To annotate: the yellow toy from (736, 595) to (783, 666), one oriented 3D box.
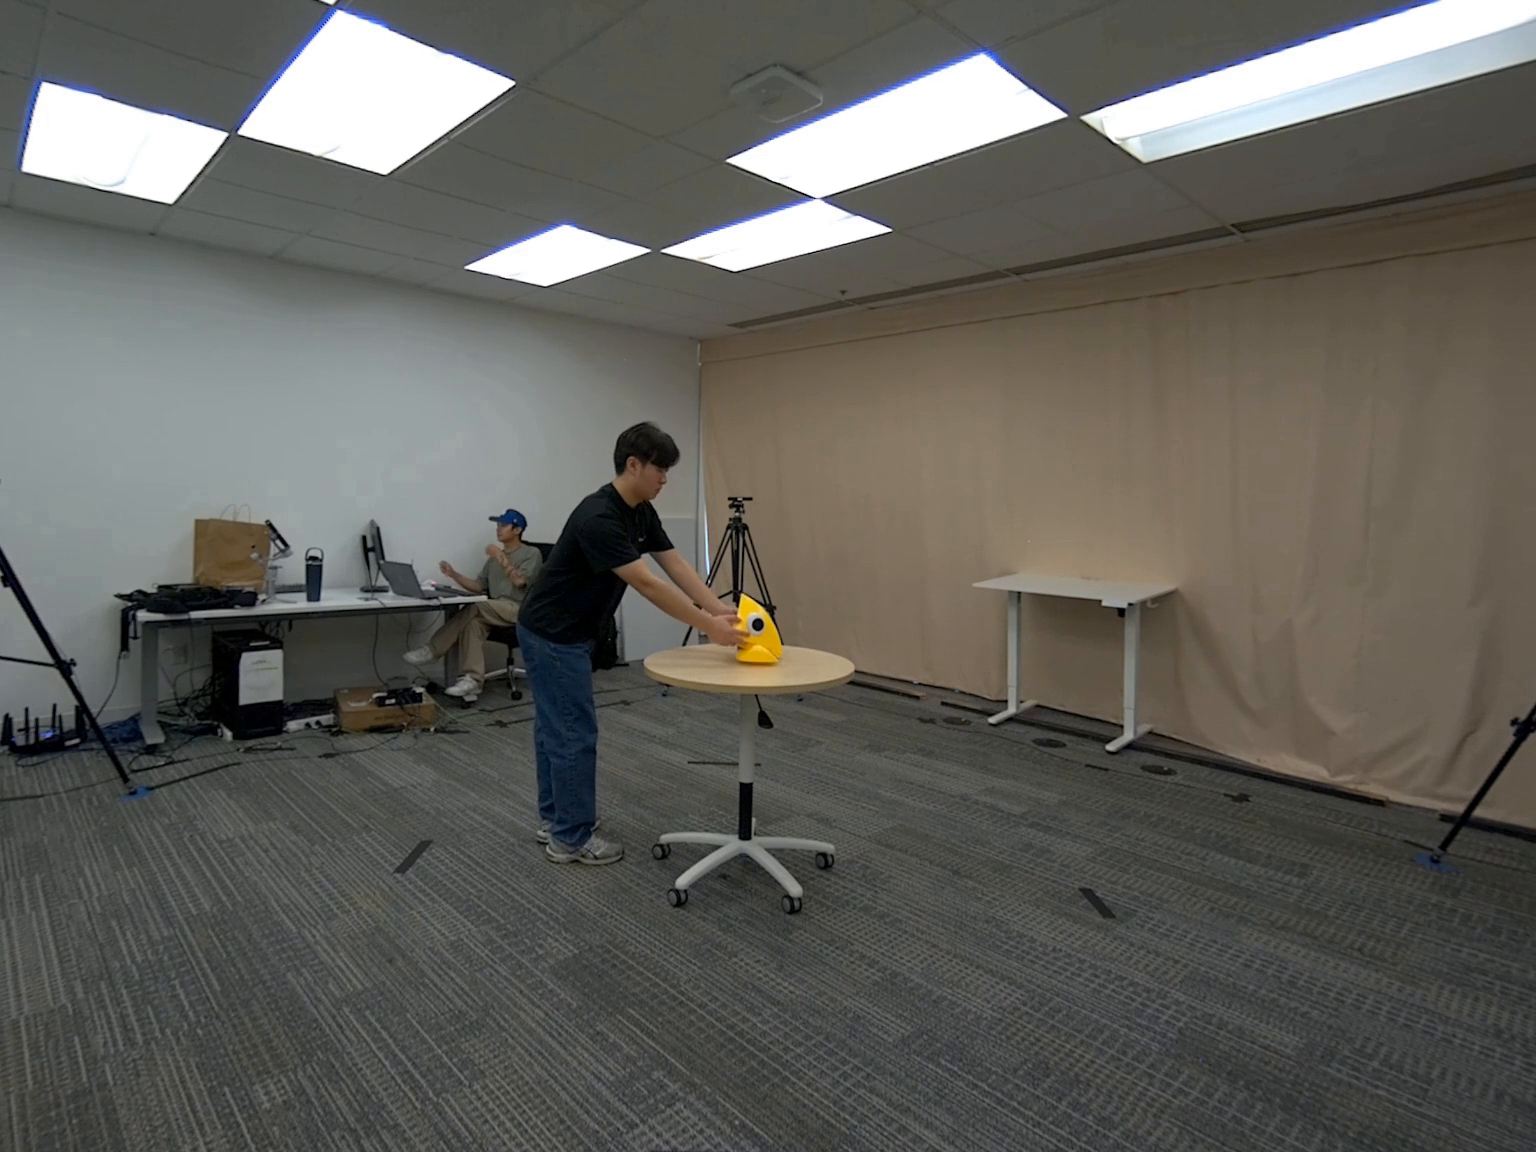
[{"bbox_3d":[-0.049,0.180,3.083,0.194,0.230,0.204,3,4,9],"label":"yellow toy"}]
